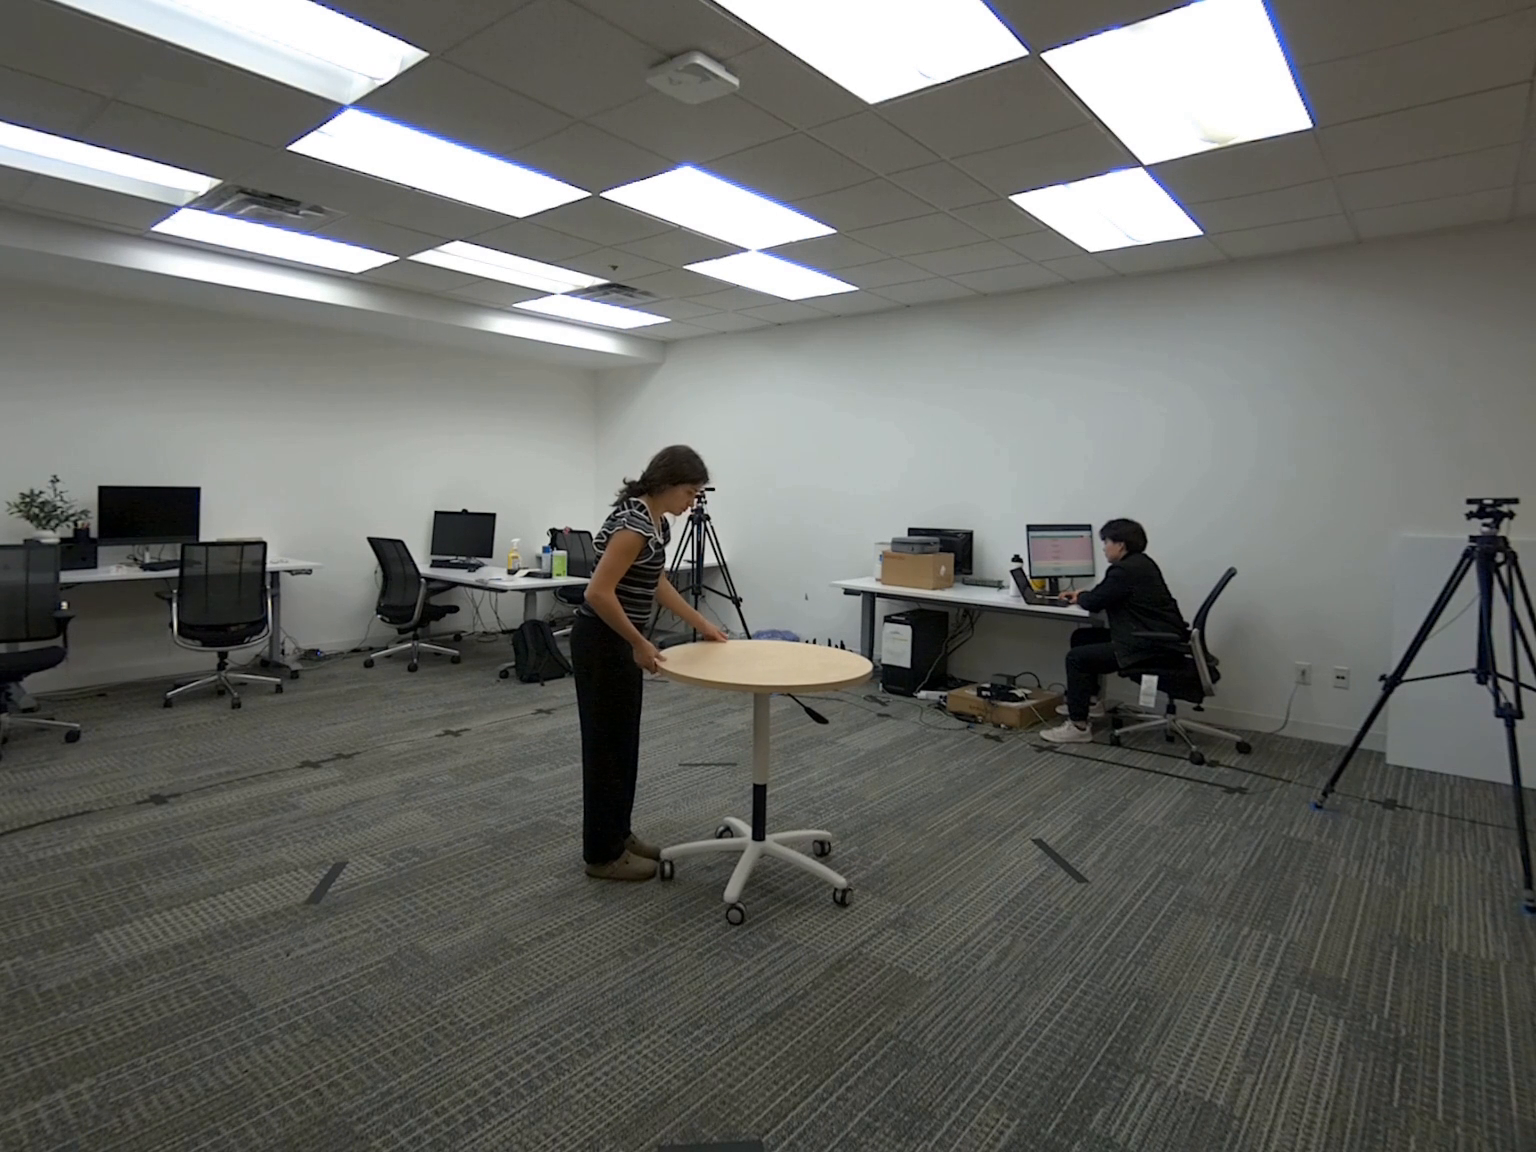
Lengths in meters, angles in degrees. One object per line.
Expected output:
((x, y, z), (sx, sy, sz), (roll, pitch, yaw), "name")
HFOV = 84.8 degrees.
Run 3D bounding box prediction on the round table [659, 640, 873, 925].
((-0.045, 0.687, 3.028), (0.784, 0.784, 0.789), (2, 4, -2), "round table")
